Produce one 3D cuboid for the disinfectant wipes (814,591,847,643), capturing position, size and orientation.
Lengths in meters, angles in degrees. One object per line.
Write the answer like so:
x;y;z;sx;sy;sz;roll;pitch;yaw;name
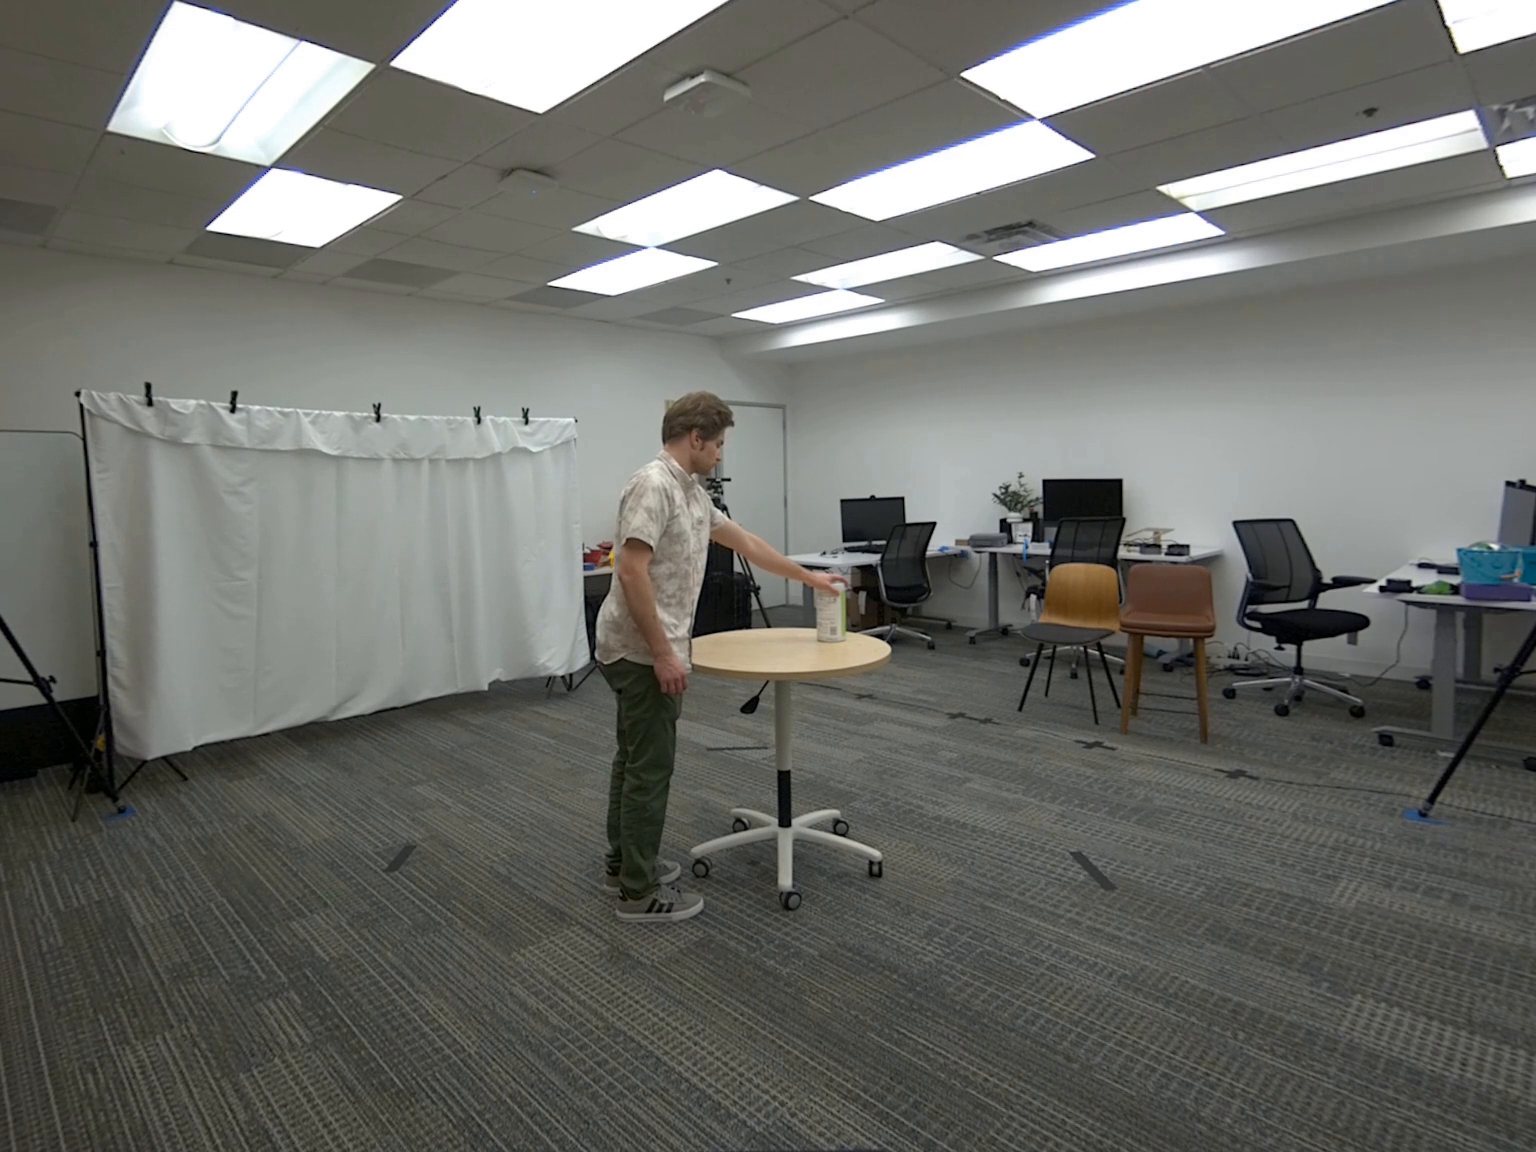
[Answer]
0.237;0.131;3.164;0.118;0.217;0.118;-2;1;-2;disinfectant wipes
